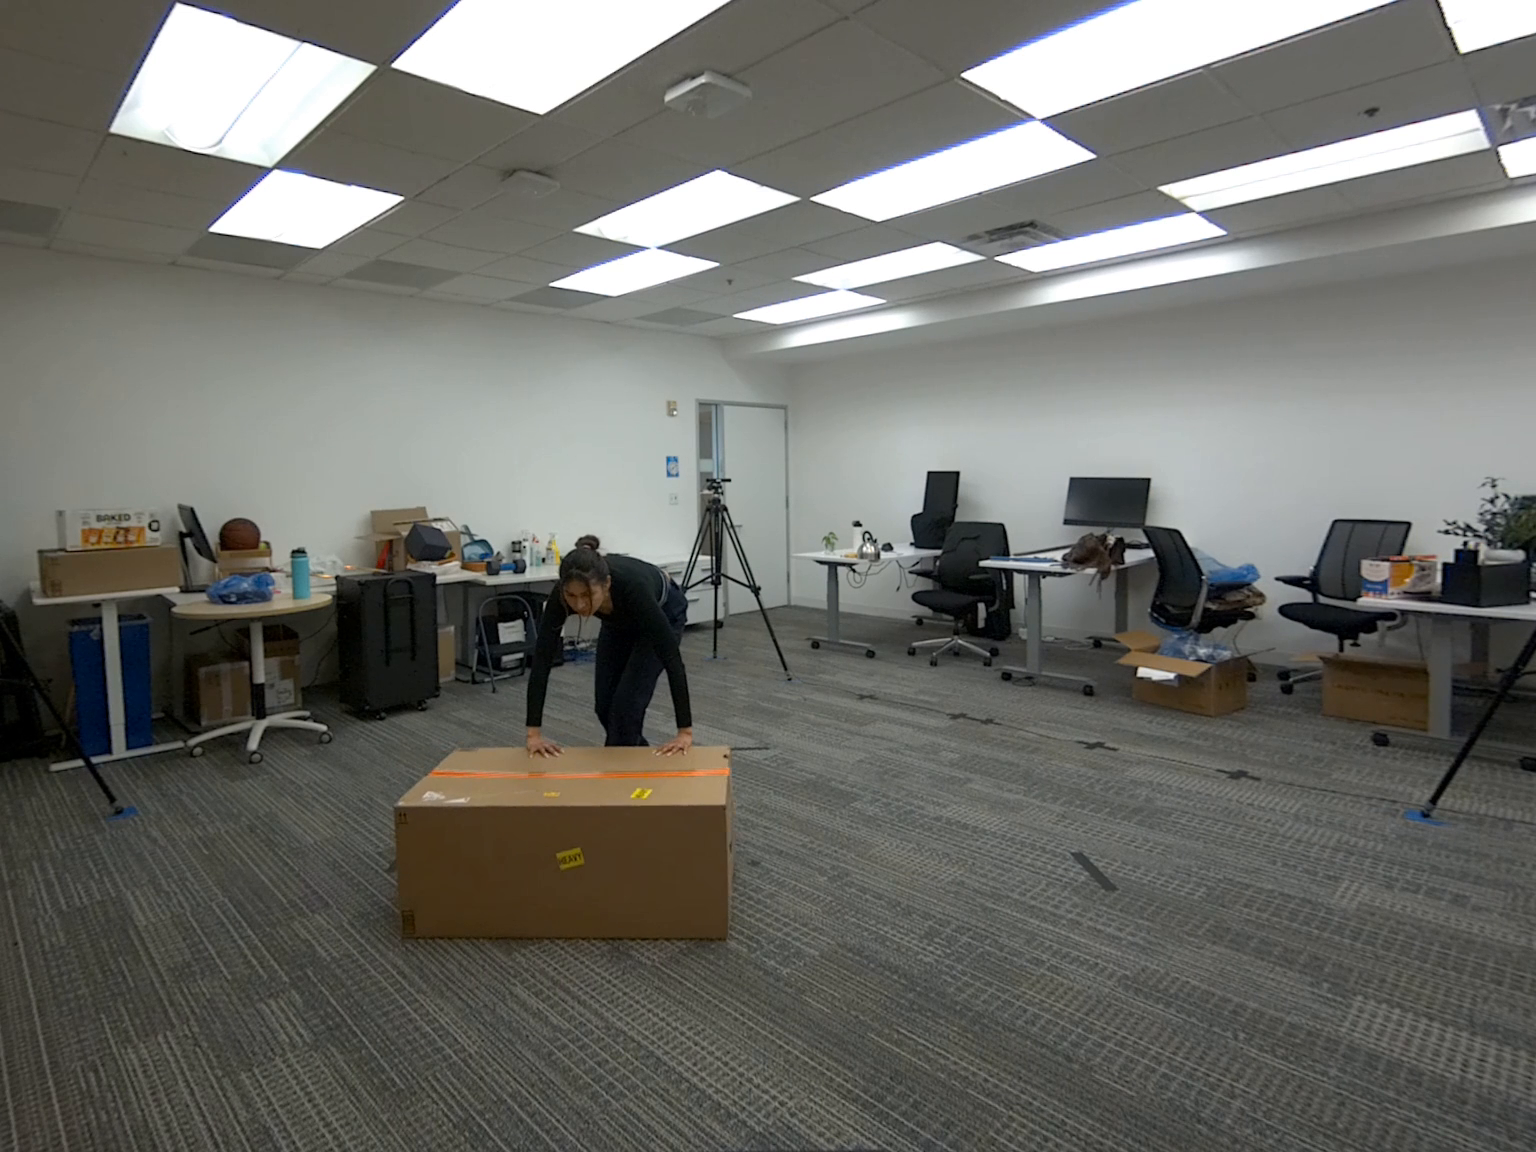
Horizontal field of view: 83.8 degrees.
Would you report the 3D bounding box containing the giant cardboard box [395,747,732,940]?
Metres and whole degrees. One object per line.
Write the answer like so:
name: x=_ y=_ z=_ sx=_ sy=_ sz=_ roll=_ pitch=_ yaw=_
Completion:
giant cardboard box: x=-0.635 y=0.867 z=2.885 sx=1.028 sy=0.425 sz=0.579 roll=-1 pitch=5 yaw=1
